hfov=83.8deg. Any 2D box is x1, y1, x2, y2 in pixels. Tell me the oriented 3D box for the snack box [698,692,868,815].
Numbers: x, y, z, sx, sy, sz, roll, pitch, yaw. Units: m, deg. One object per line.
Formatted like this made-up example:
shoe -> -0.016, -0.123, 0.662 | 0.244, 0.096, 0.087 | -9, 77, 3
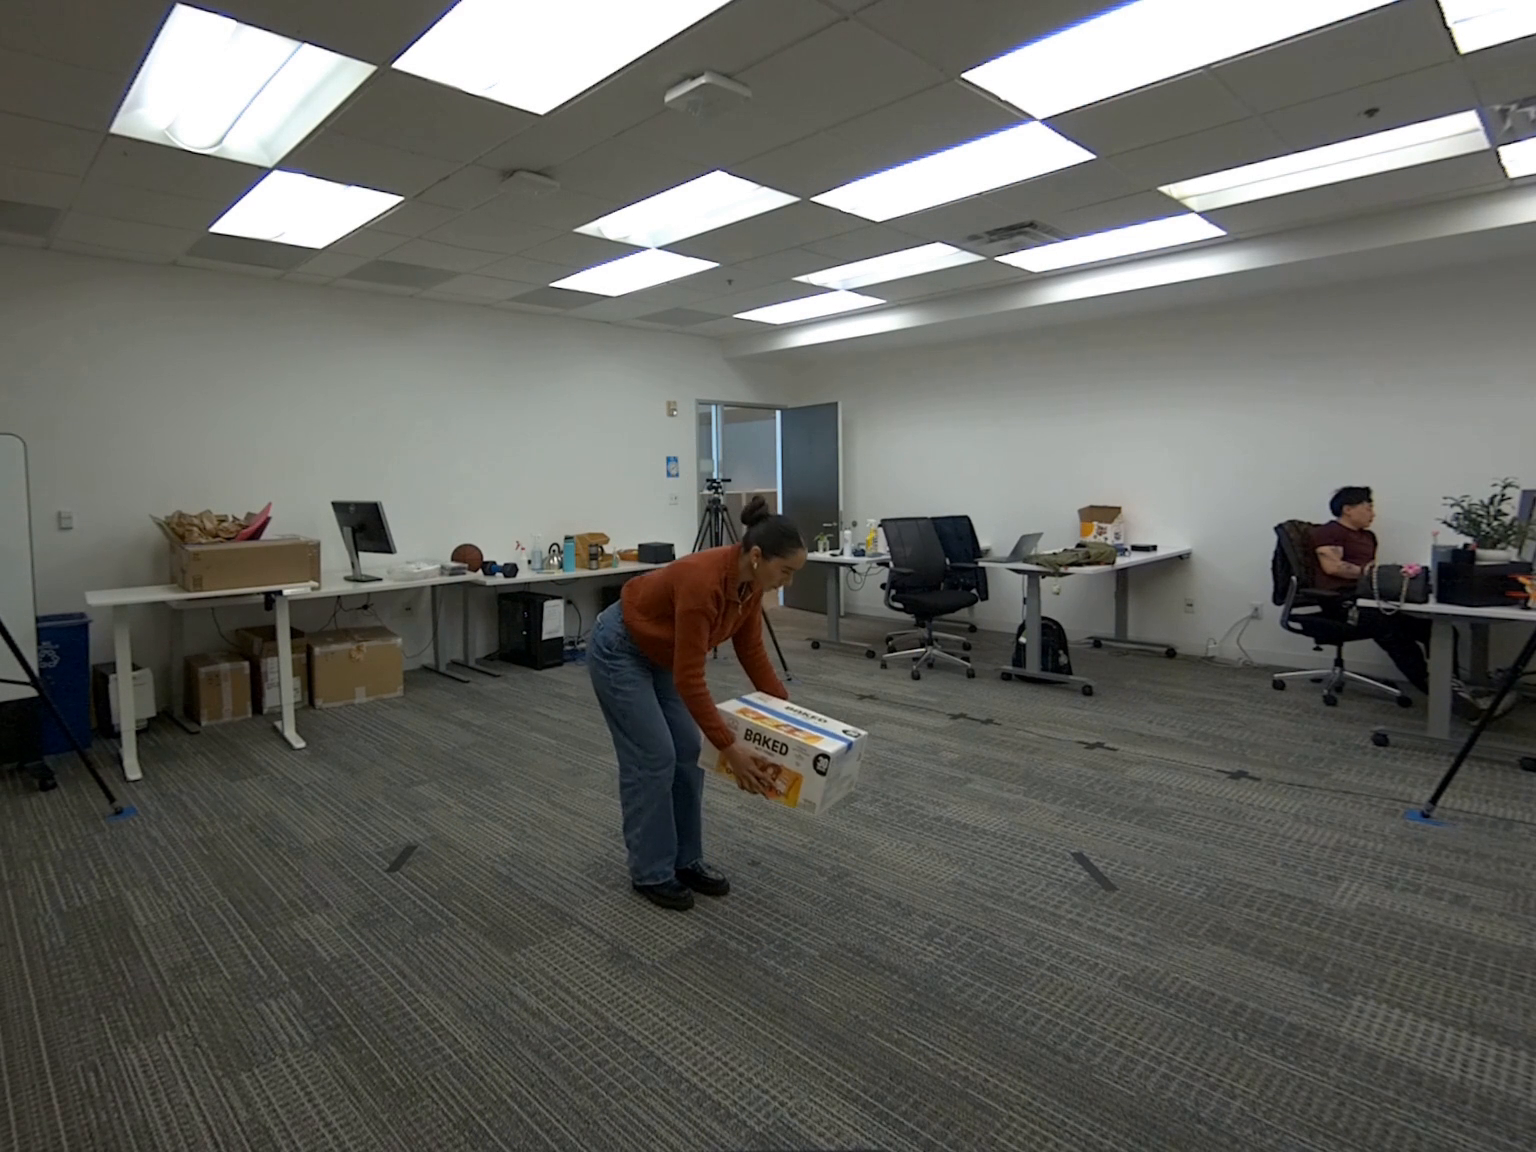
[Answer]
snack box -> 0.051, 0.543, 2.691 | 0.417, 0.205, 0.332 | 16, 7, 25
